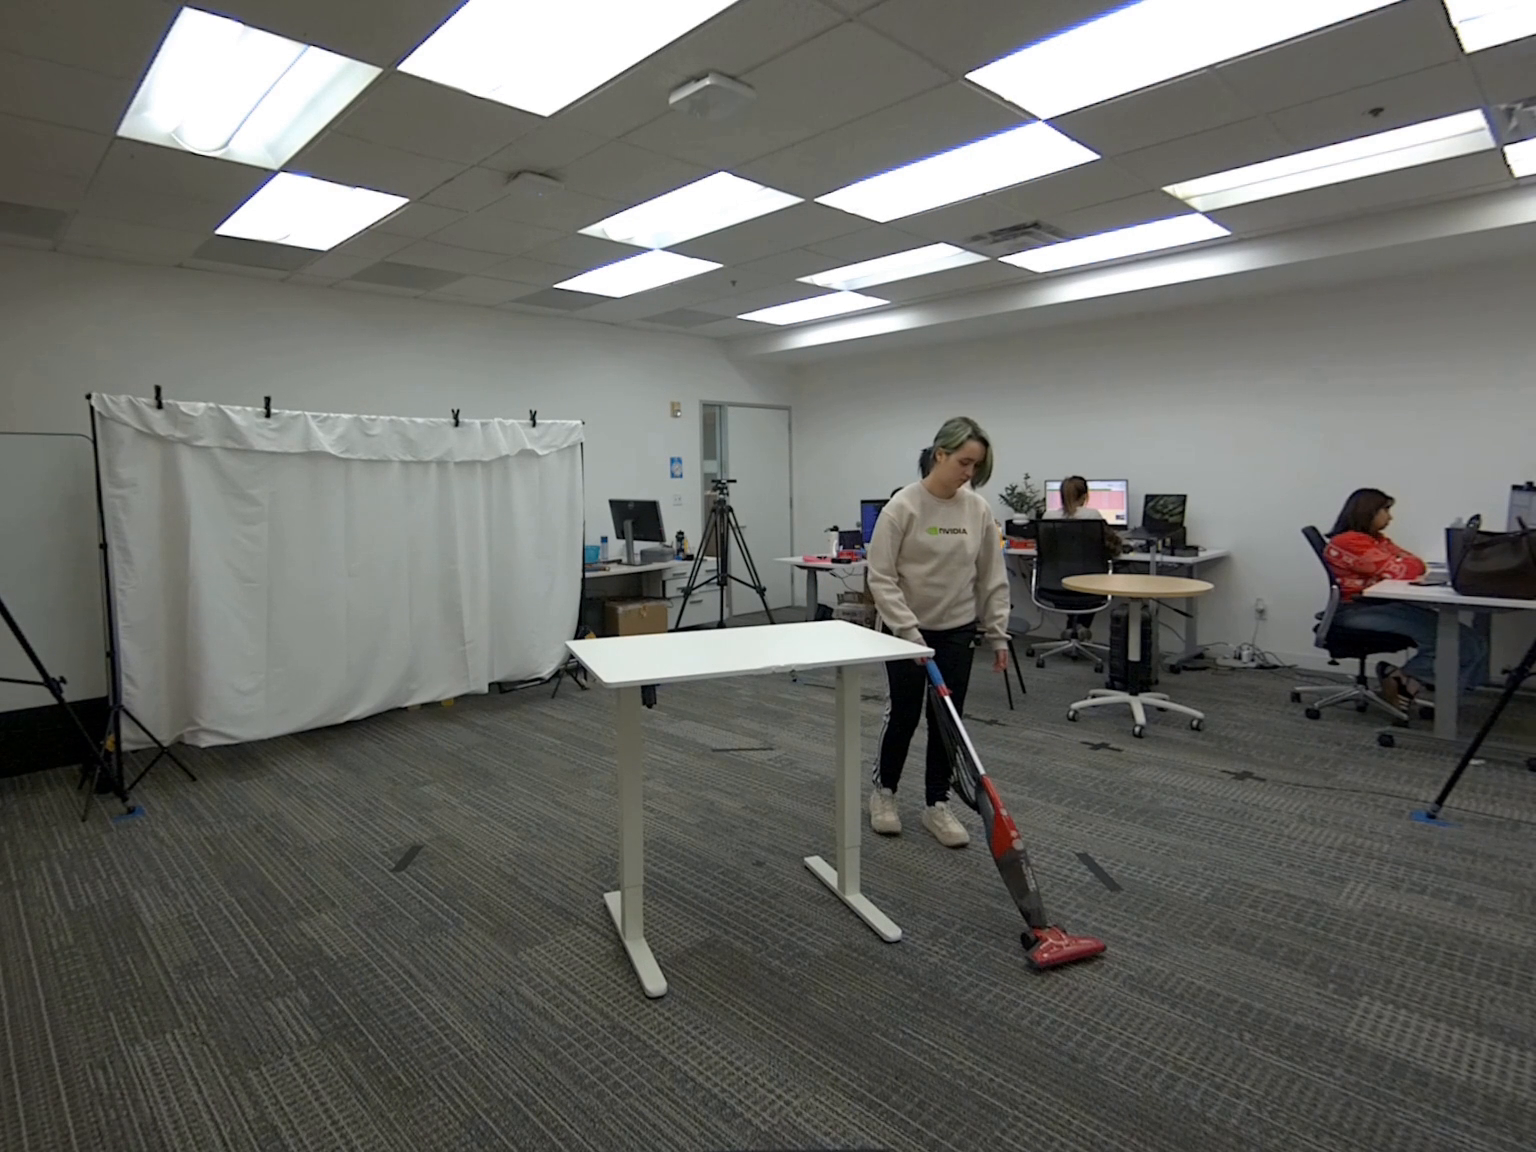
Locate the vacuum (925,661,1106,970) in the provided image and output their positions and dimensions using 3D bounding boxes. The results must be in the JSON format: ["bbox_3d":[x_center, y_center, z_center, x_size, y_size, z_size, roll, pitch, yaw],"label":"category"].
[{"bbox_3d":[0.690,0.687,2.803,0.246,1.086,0.142,1,-42,-27],"label":"vacuum"}]
